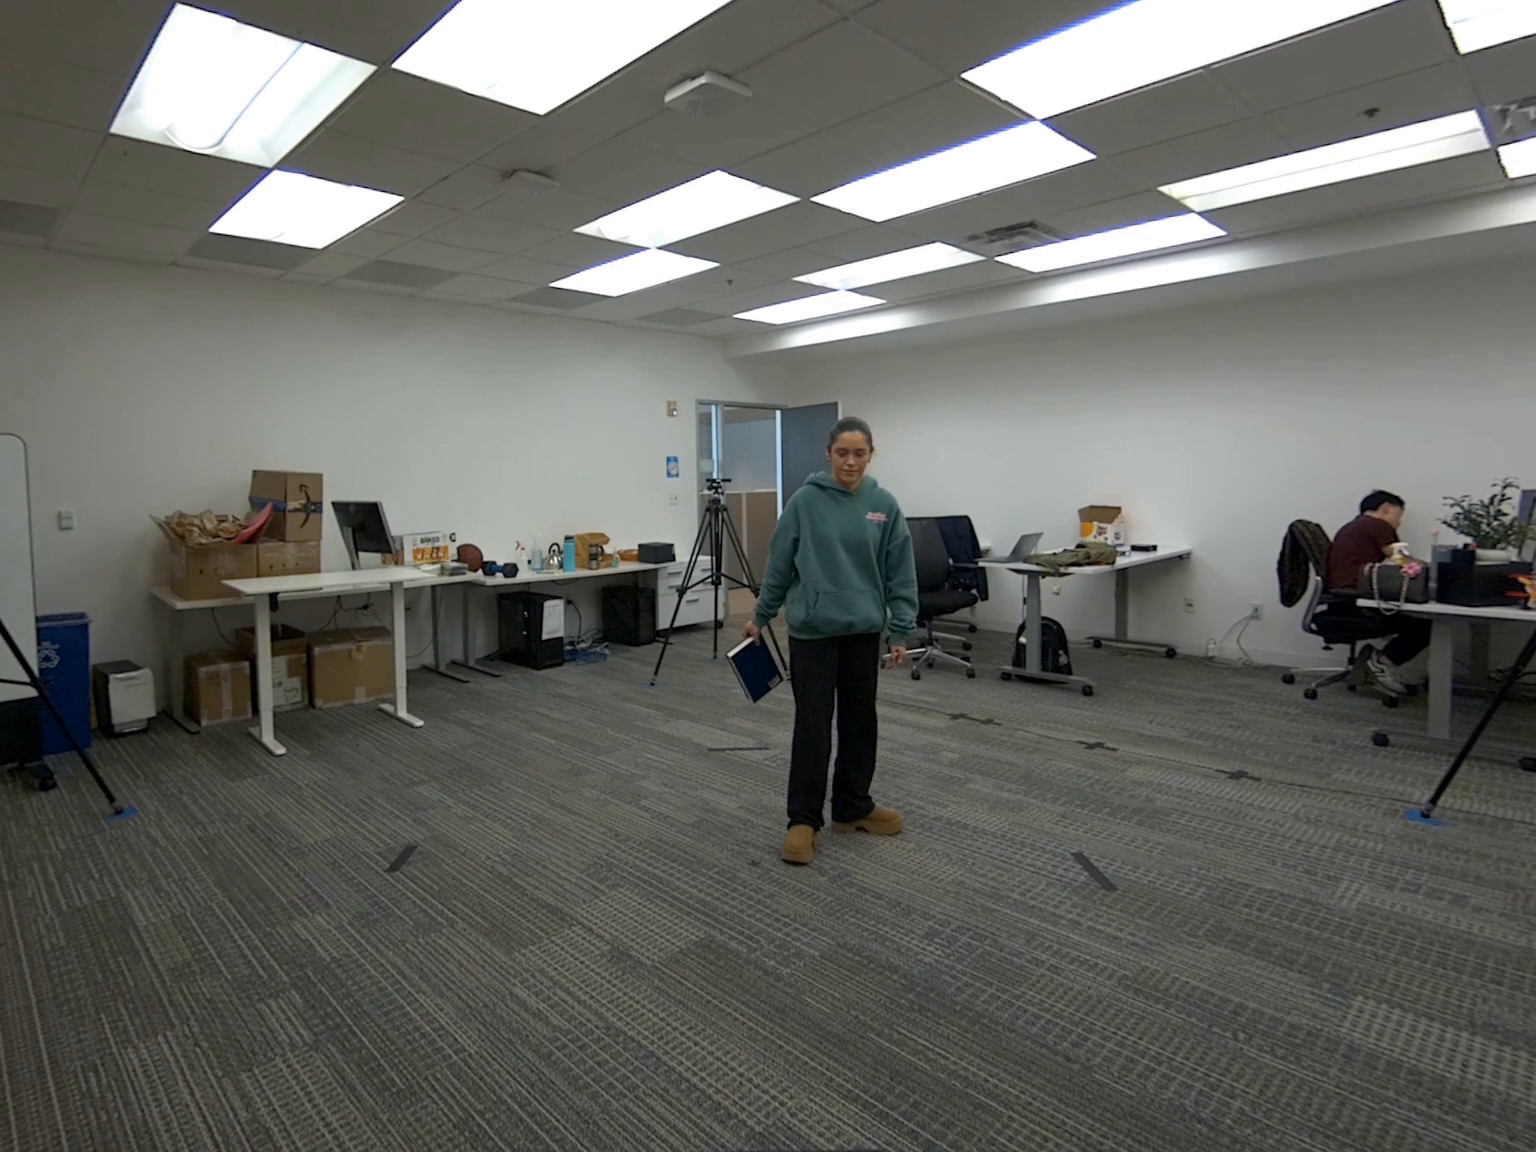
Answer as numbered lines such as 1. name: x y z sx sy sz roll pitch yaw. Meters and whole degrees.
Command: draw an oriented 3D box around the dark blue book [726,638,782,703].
1. dark blue book: -0.055 0.366 3.385 0.162 0.238 0.046 -33 25 -18
